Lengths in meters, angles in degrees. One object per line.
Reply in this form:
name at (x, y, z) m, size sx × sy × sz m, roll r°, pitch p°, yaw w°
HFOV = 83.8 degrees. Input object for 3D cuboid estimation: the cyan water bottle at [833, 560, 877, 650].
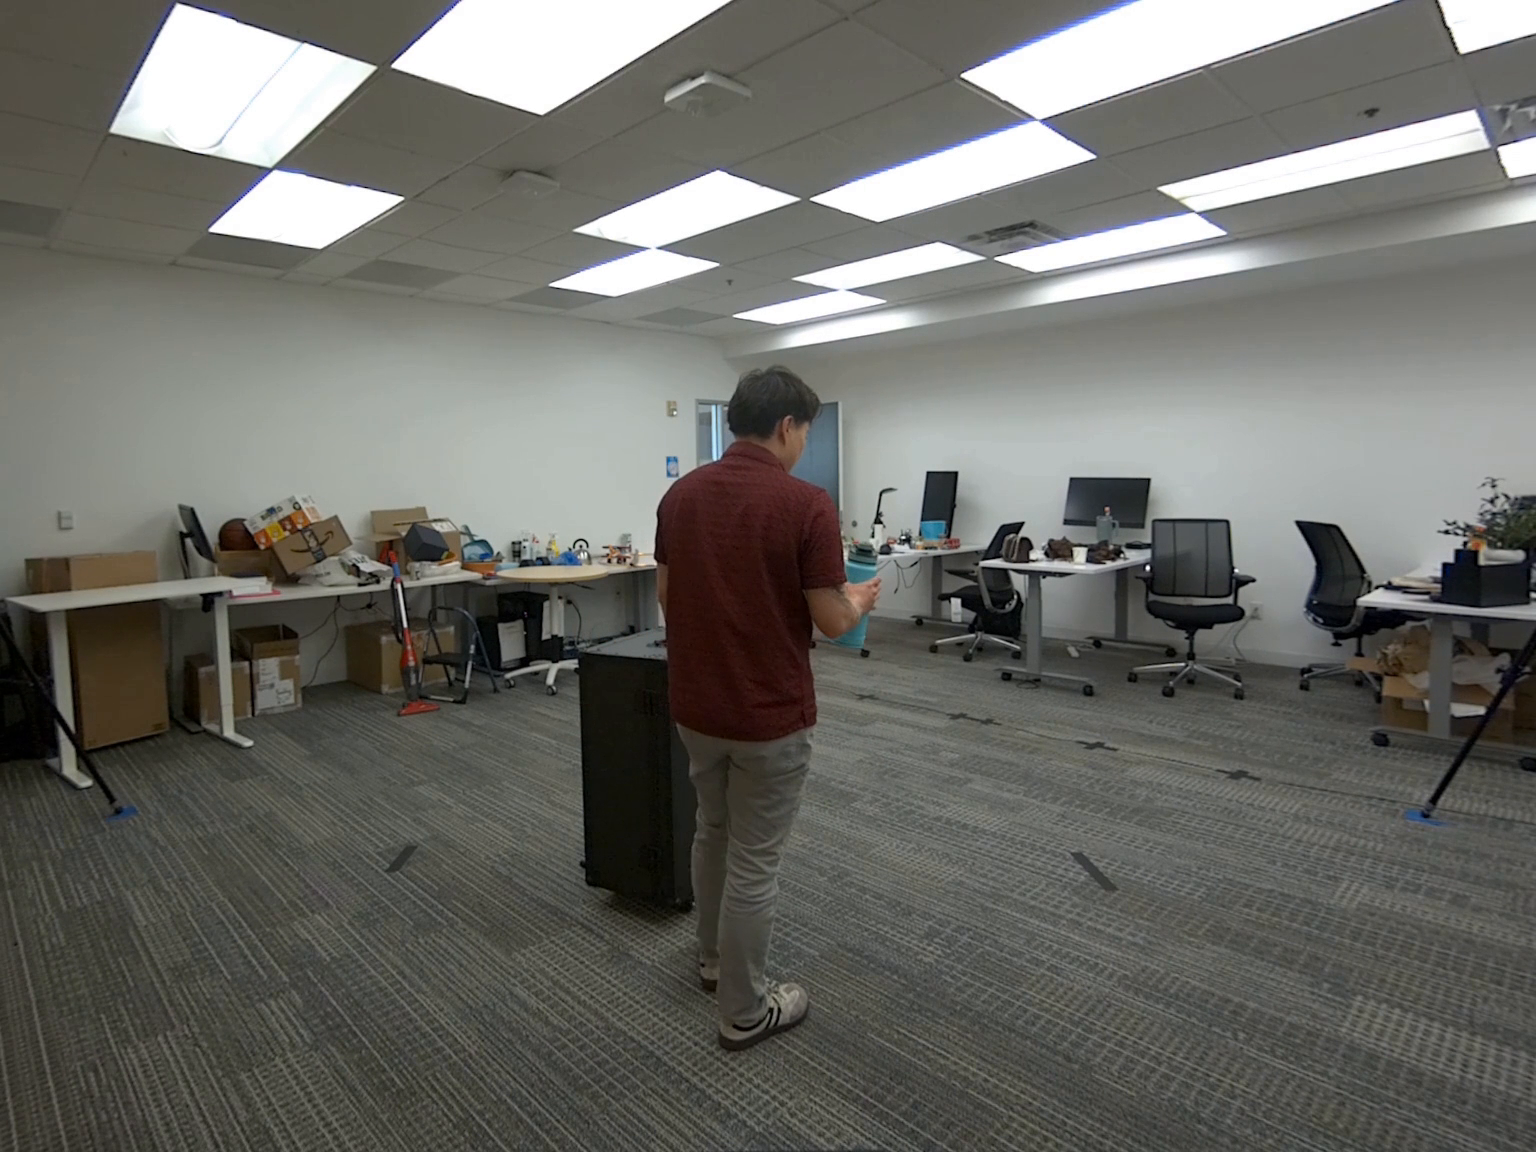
cyan water bottle at (0.245, 0.046, 2.299) m, size 0.092 × 0.282 × 0.093 m, roll 8°, pitch 4°, yaw -2°
